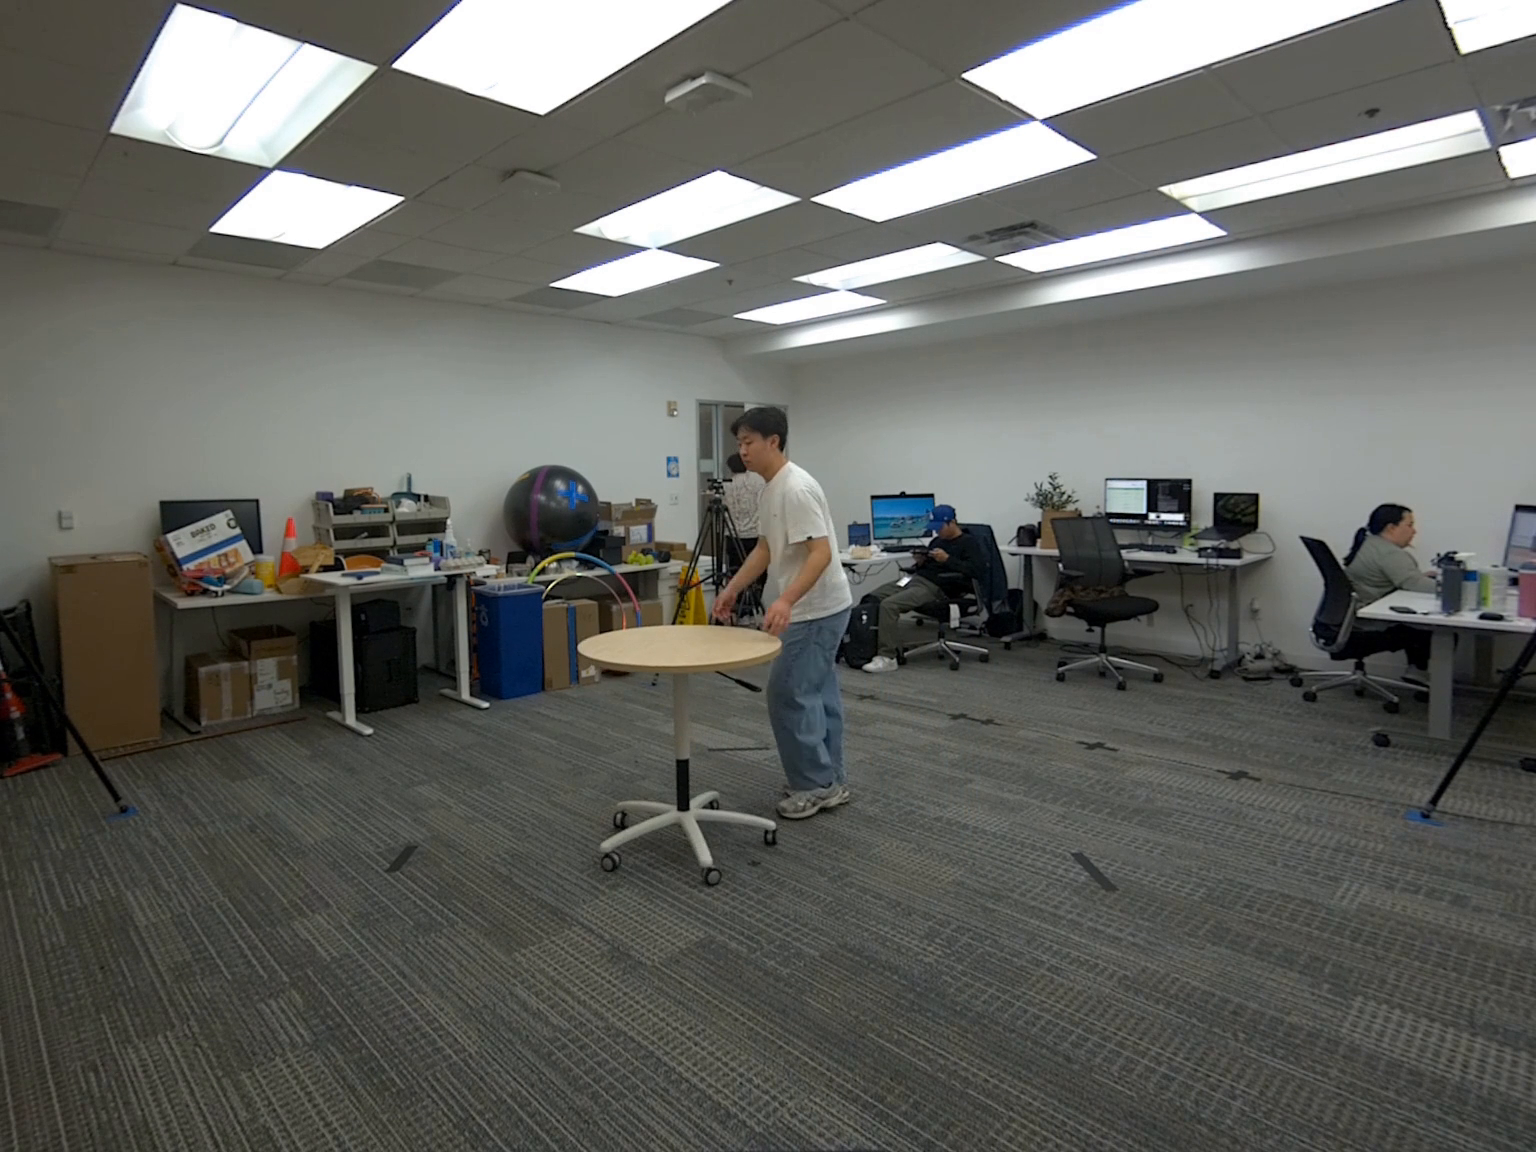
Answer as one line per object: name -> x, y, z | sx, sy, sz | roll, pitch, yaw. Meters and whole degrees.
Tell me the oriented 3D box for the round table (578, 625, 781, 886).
round table -> -0.320, 0.639, 3.229 | 0.784, 0.784, 0.789 | -1, 5, -2
